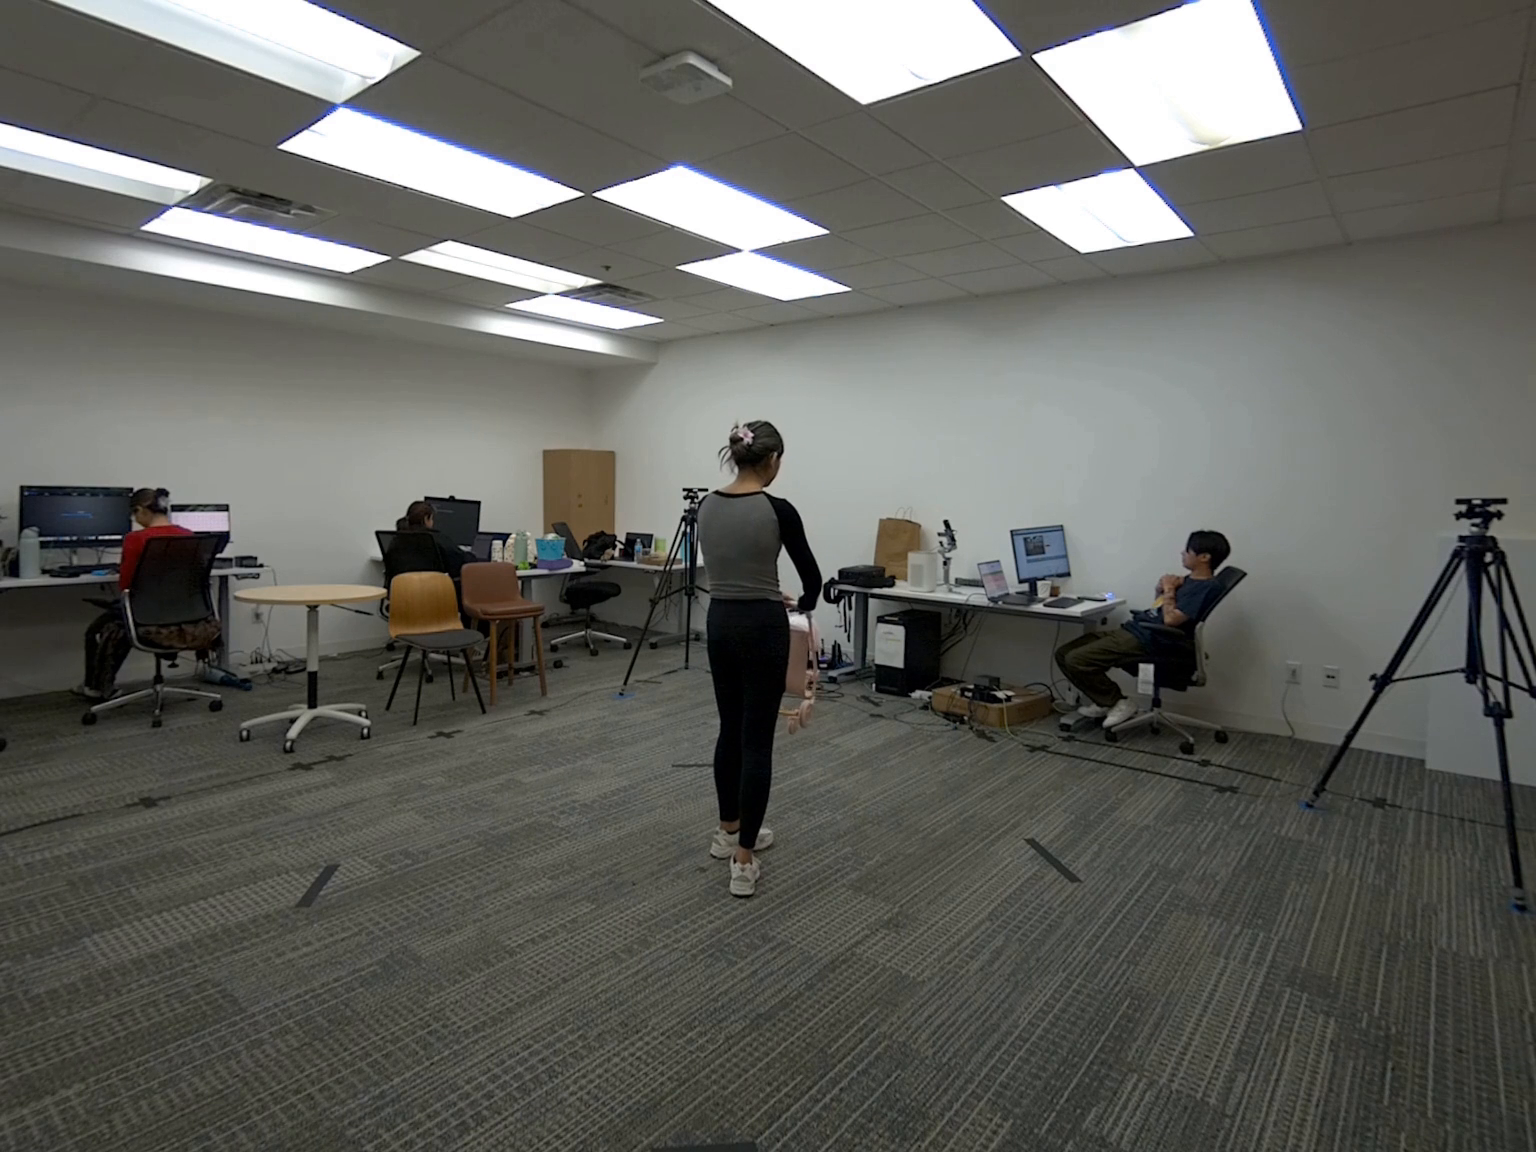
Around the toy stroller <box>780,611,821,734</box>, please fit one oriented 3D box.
[{"bbox_3d":[0.083,0.385,3.496,0.289,0.537,0.330,5,-6,27],"label":"toy stroller"}]
